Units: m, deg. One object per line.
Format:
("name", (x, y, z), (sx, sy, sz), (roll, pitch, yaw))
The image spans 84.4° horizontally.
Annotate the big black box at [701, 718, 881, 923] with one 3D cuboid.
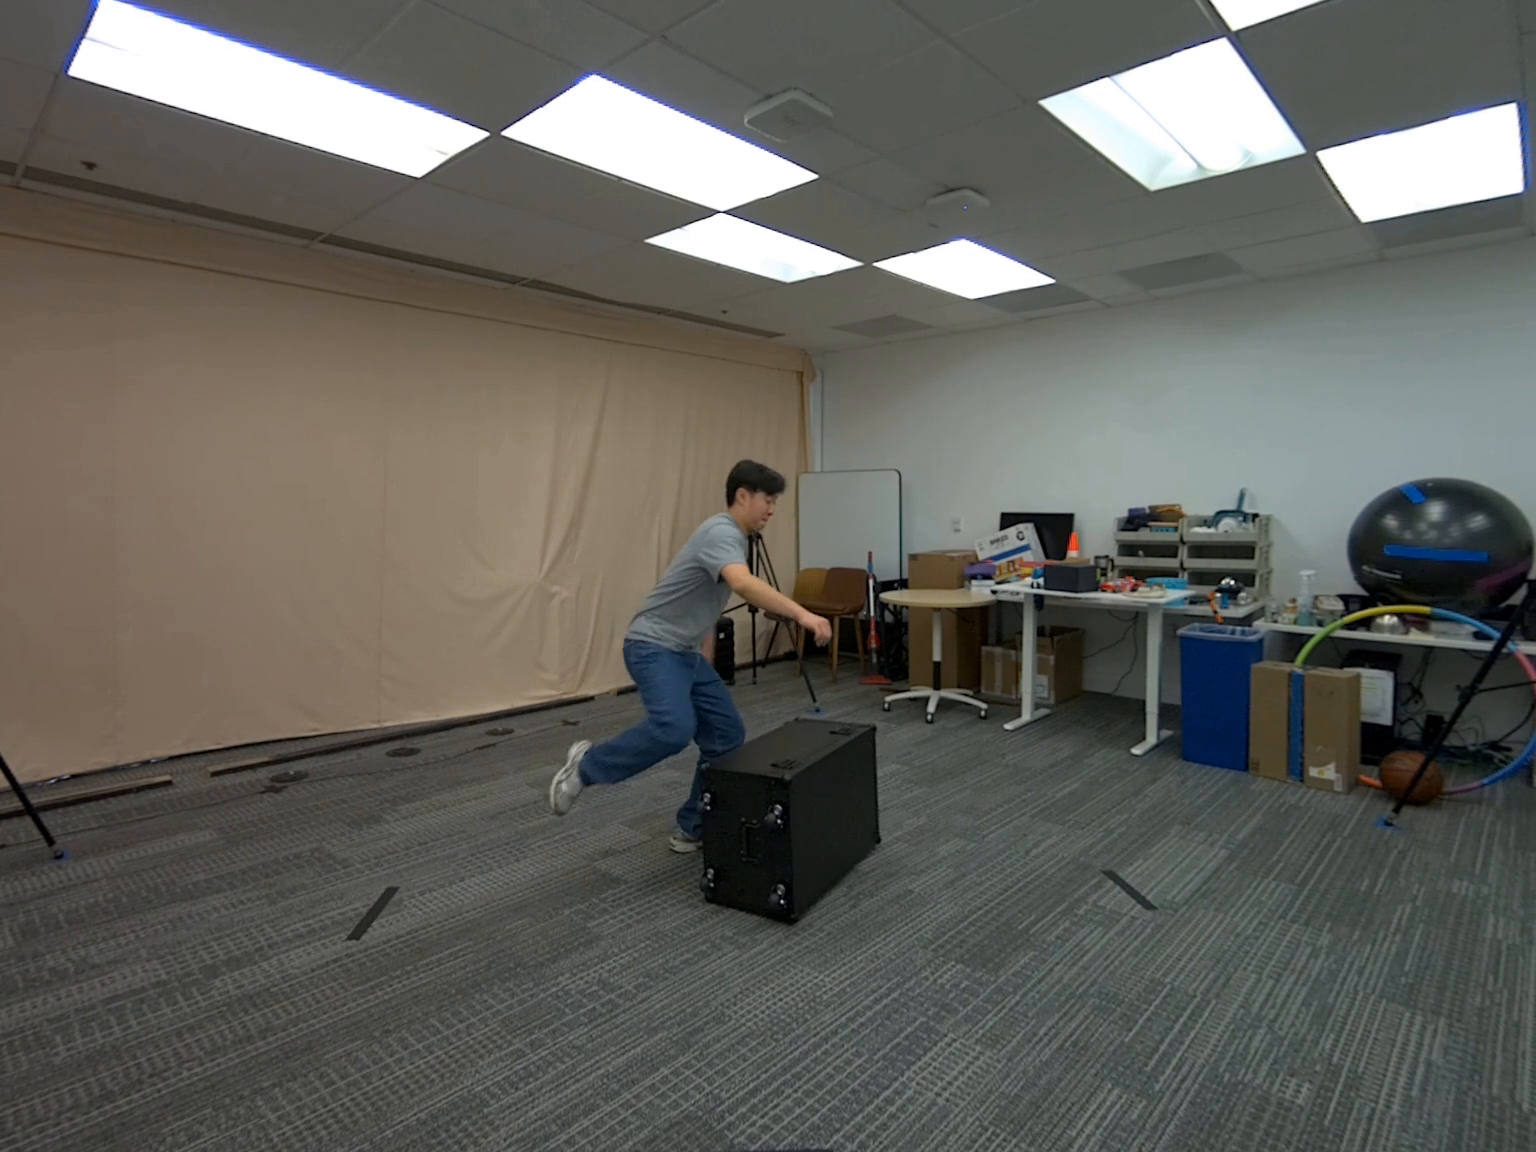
("big black box", (0.084, 0.870, 3.169), (0.407, 0.520, 0.839), (-1, 3, 29))
